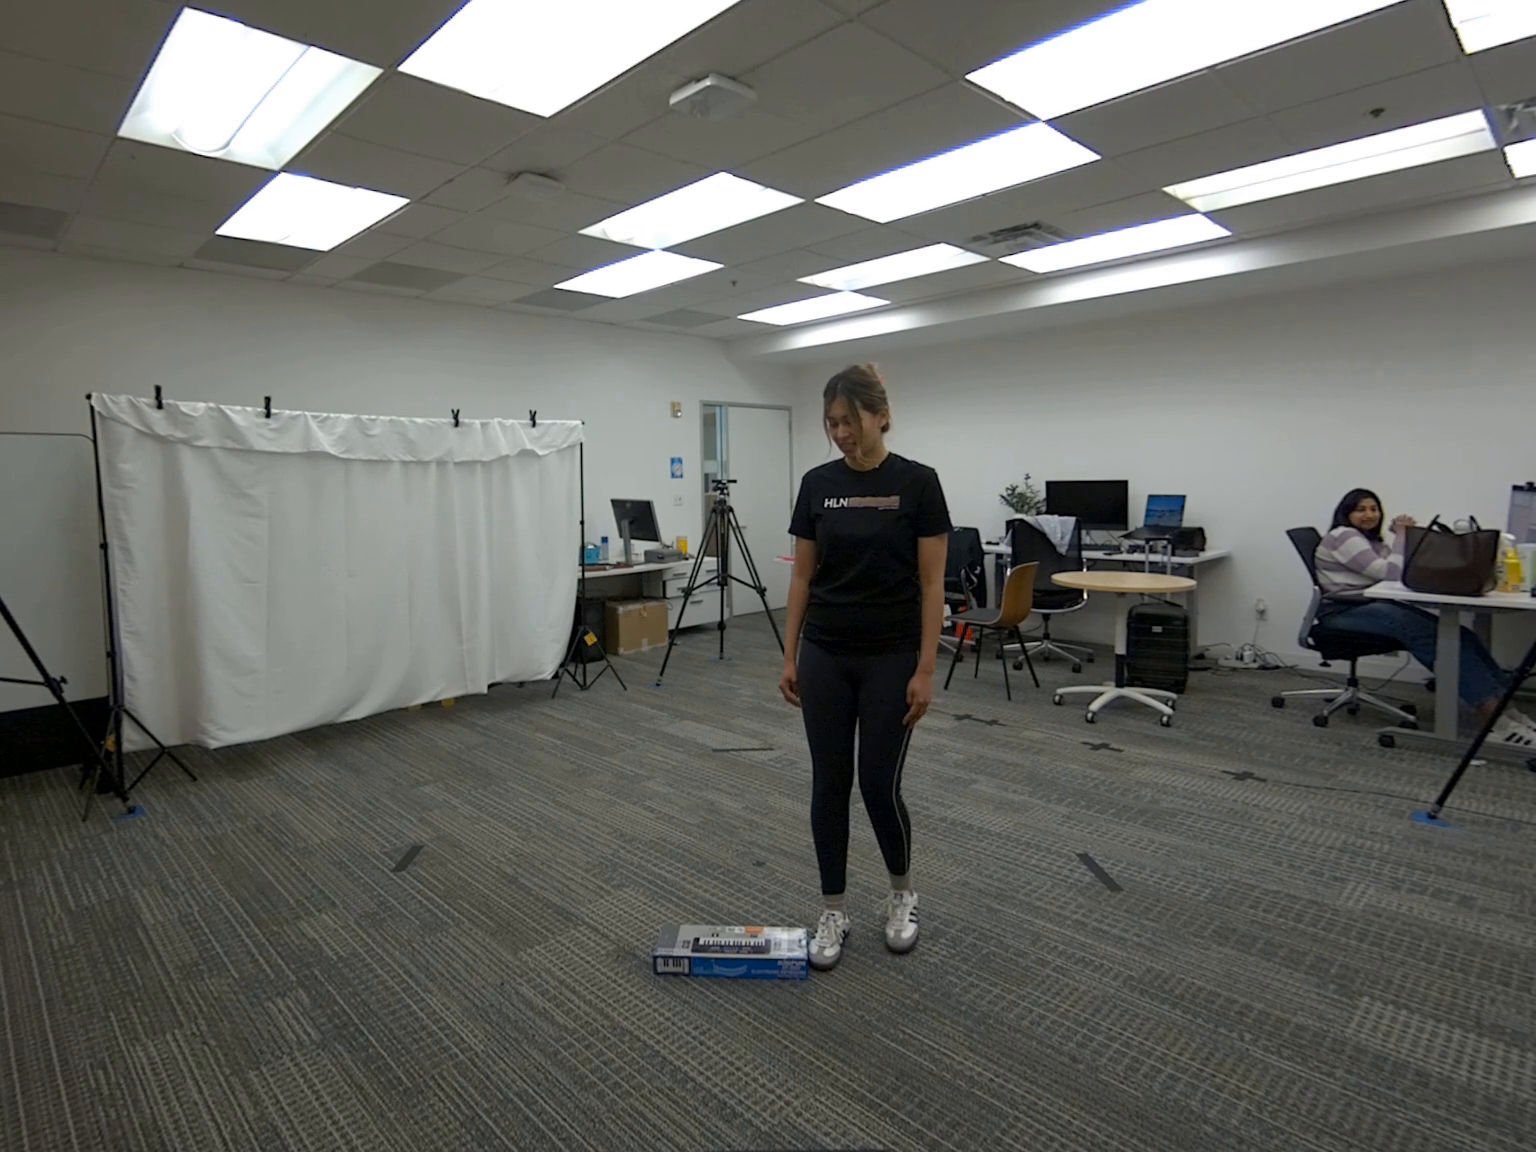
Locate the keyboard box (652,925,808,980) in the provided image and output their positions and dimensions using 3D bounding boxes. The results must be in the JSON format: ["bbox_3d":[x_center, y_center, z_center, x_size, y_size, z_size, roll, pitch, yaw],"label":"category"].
[{"bbox_3d":[-0.098,1.091,2.486,0.439,0.059,0.176,-1,6,5],"label":"keyboard box"}]
